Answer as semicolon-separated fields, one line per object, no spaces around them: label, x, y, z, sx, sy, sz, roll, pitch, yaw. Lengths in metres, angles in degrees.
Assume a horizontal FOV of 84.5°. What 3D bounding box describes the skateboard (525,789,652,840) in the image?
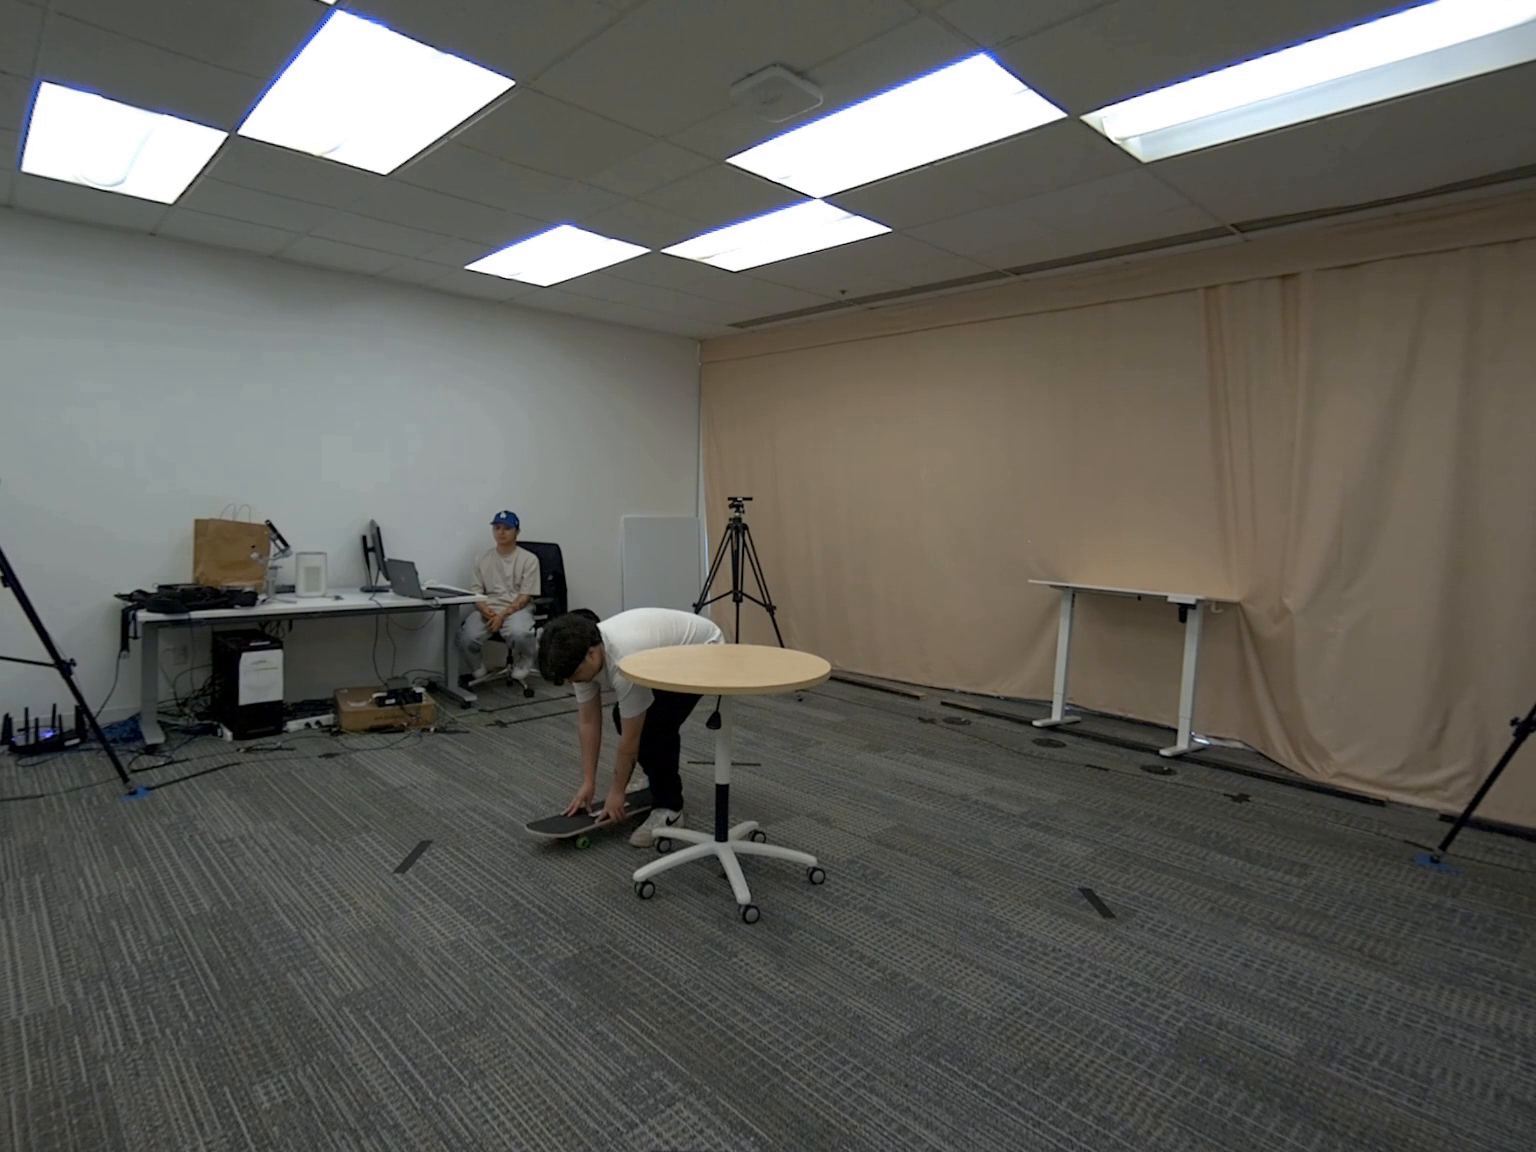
skateboard;-0.675;1.008;3.515;0.198;0.110;0.768;5;6;41
